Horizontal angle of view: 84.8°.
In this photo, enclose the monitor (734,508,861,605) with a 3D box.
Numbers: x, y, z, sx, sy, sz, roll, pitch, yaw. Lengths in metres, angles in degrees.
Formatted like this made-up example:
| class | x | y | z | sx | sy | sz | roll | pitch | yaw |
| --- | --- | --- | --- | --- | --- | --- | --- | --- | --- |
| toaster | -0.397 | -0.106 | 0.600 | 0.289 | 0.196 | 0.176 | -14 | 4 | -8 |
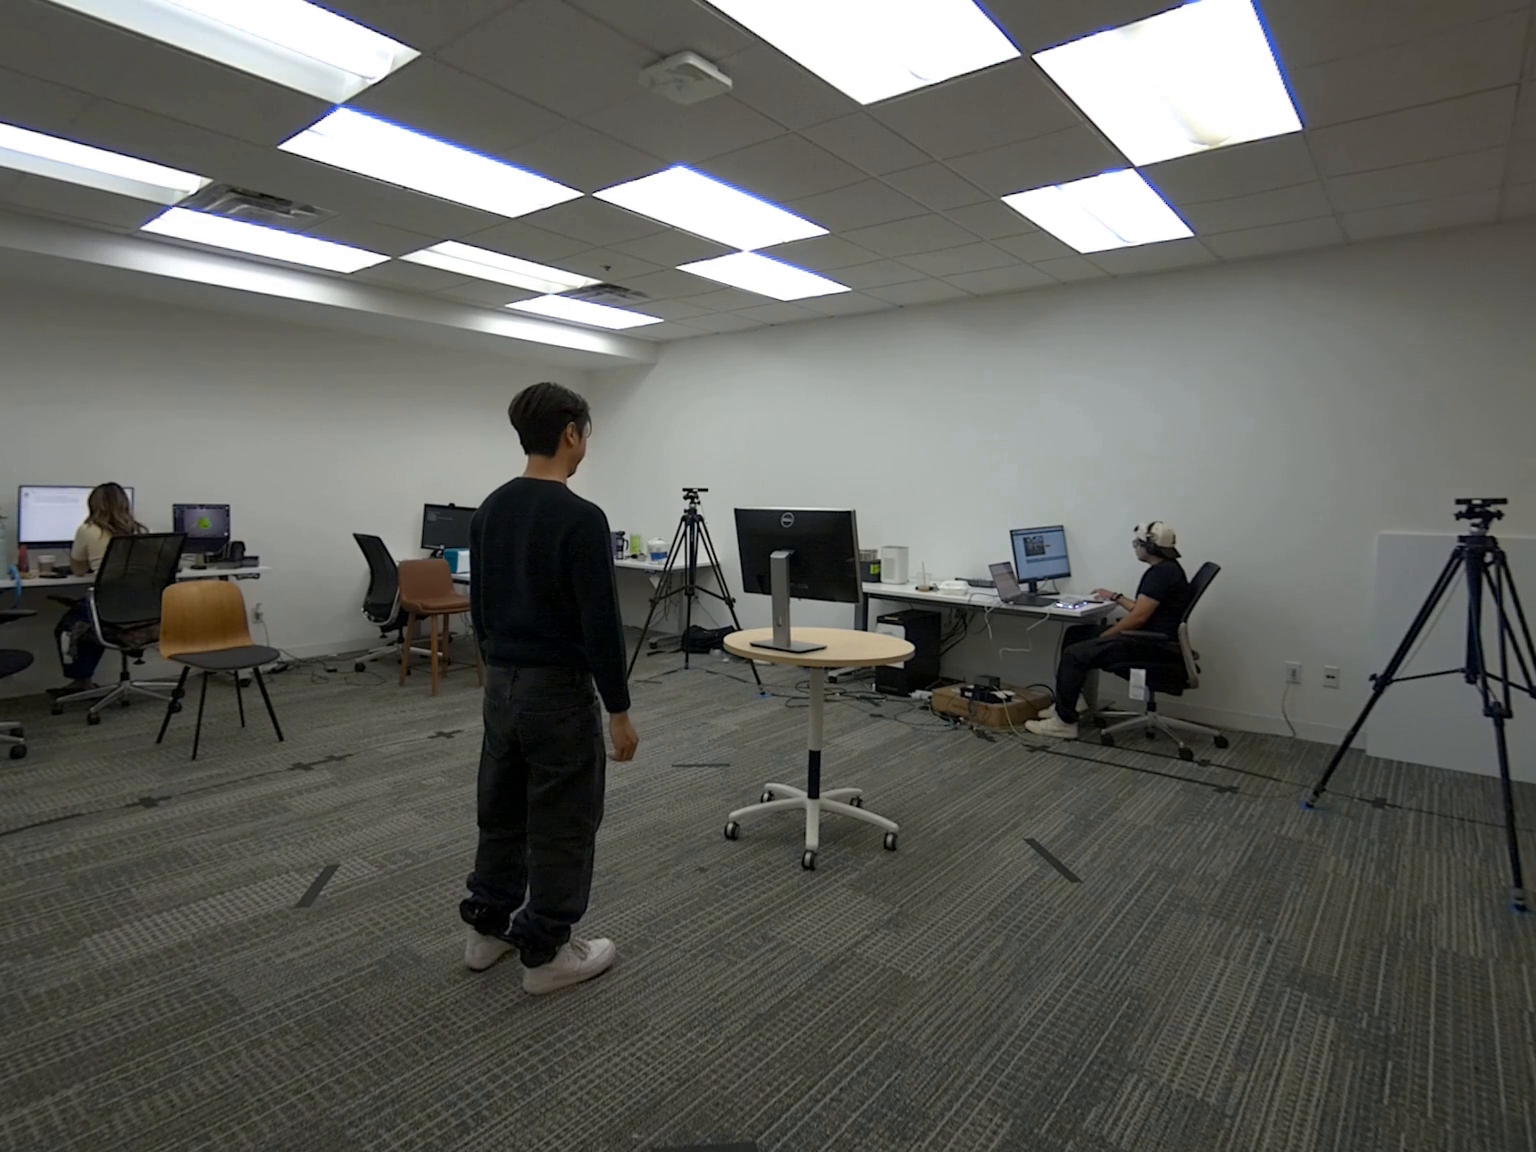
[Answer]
| class | x | y | z | sx | sy | sz | roll | pitch | yaw |
| --- | --- | --- | --- | --- | --- | --- | --- | --- | --- |
| monitor | 0.073 | 0.008 | 3.305 | 0.556 | 0.522 | 0.181 | 4 | 3 | 36 |
